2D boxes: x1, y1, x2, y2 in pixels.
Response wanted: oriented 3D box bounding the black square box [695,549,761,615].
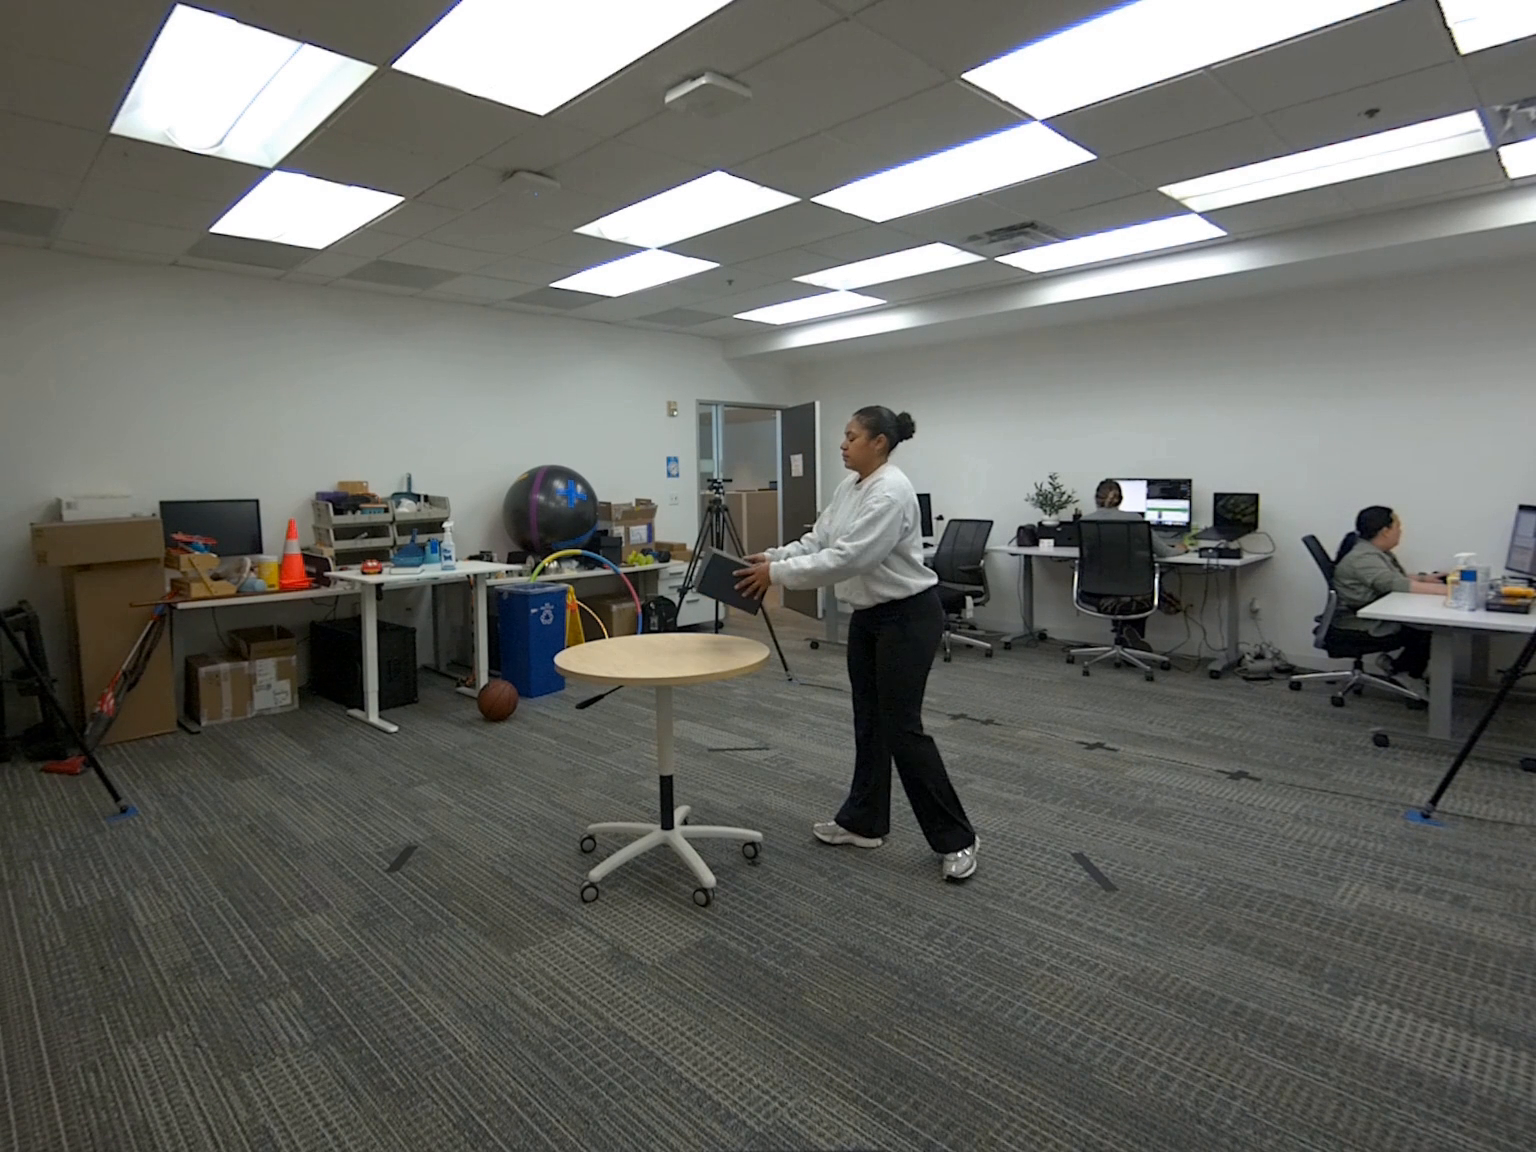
[{"bbox_3d":[-0.126,0.027,3.096,0.226,0.155,0.219,21,5,-6],"label":"black square box"}]
